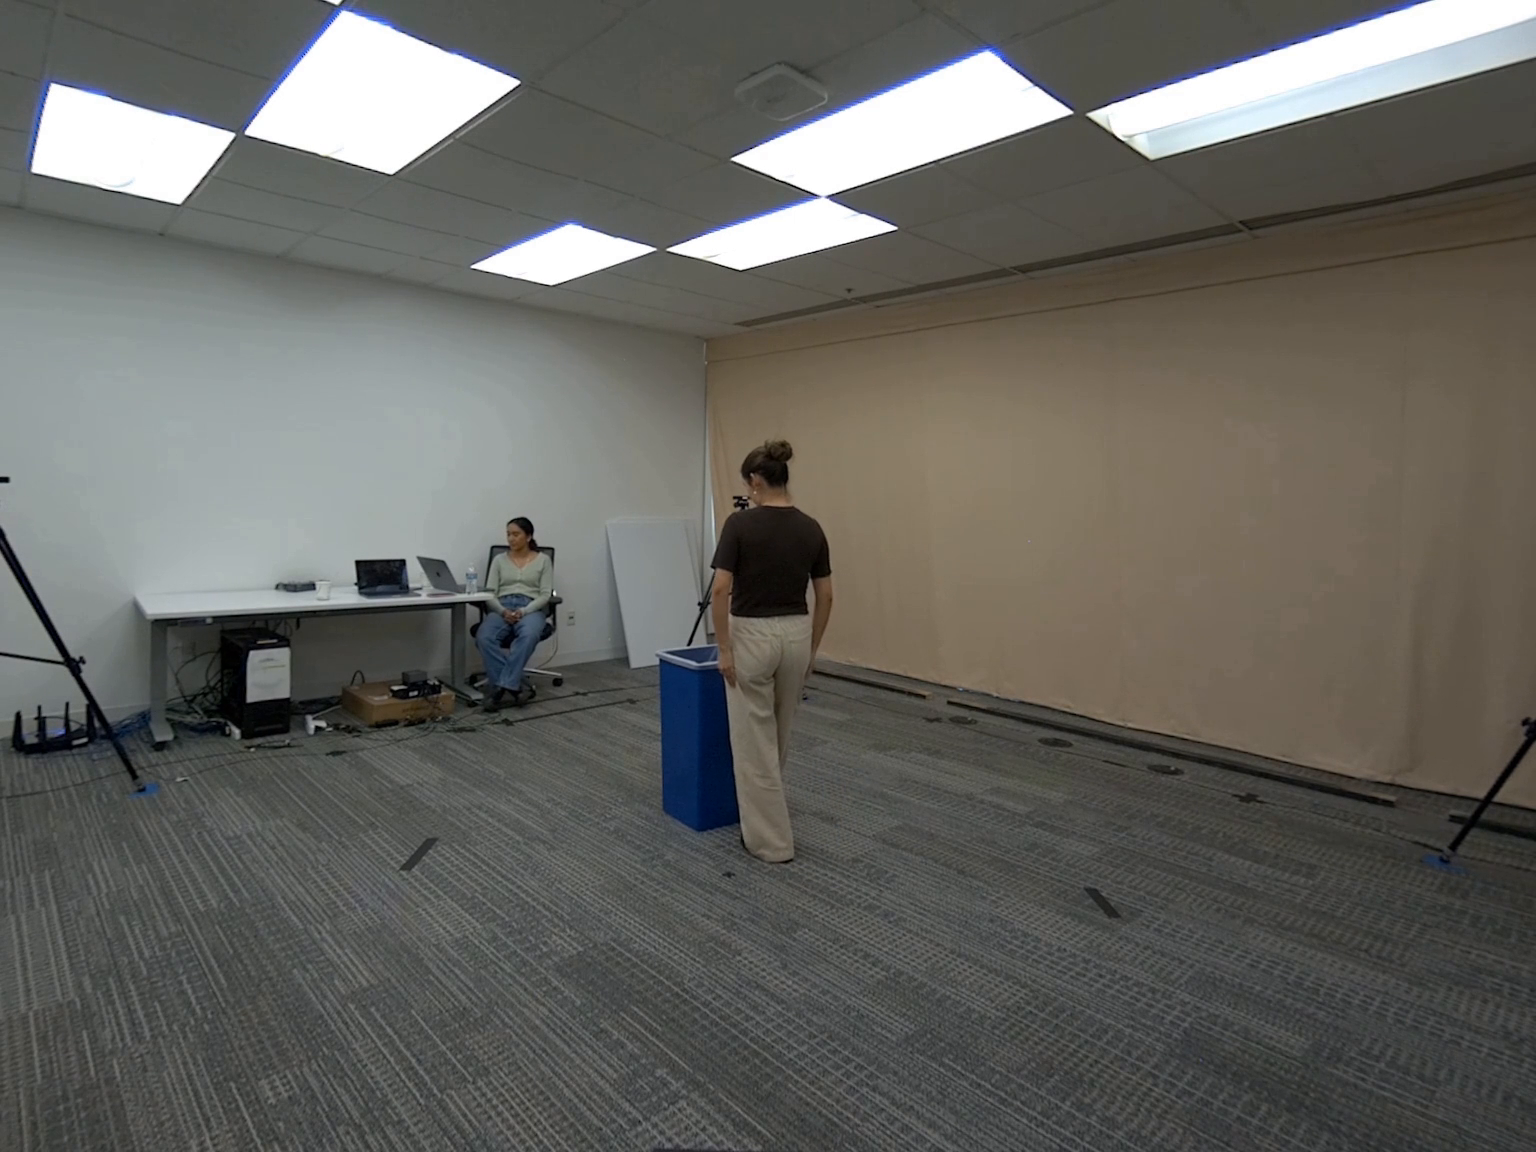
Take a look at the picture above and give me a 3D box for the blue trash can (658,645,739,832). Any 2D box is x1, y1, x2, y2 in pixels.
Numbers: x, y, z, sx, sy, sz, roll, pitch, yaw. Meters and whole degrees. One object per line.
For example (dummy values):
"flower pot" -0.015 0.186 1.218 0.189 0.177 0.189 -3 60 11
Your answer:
"blue trash can" -0.274 0.691 3.688 0.369 0.712 0.383 -1 4 -37
